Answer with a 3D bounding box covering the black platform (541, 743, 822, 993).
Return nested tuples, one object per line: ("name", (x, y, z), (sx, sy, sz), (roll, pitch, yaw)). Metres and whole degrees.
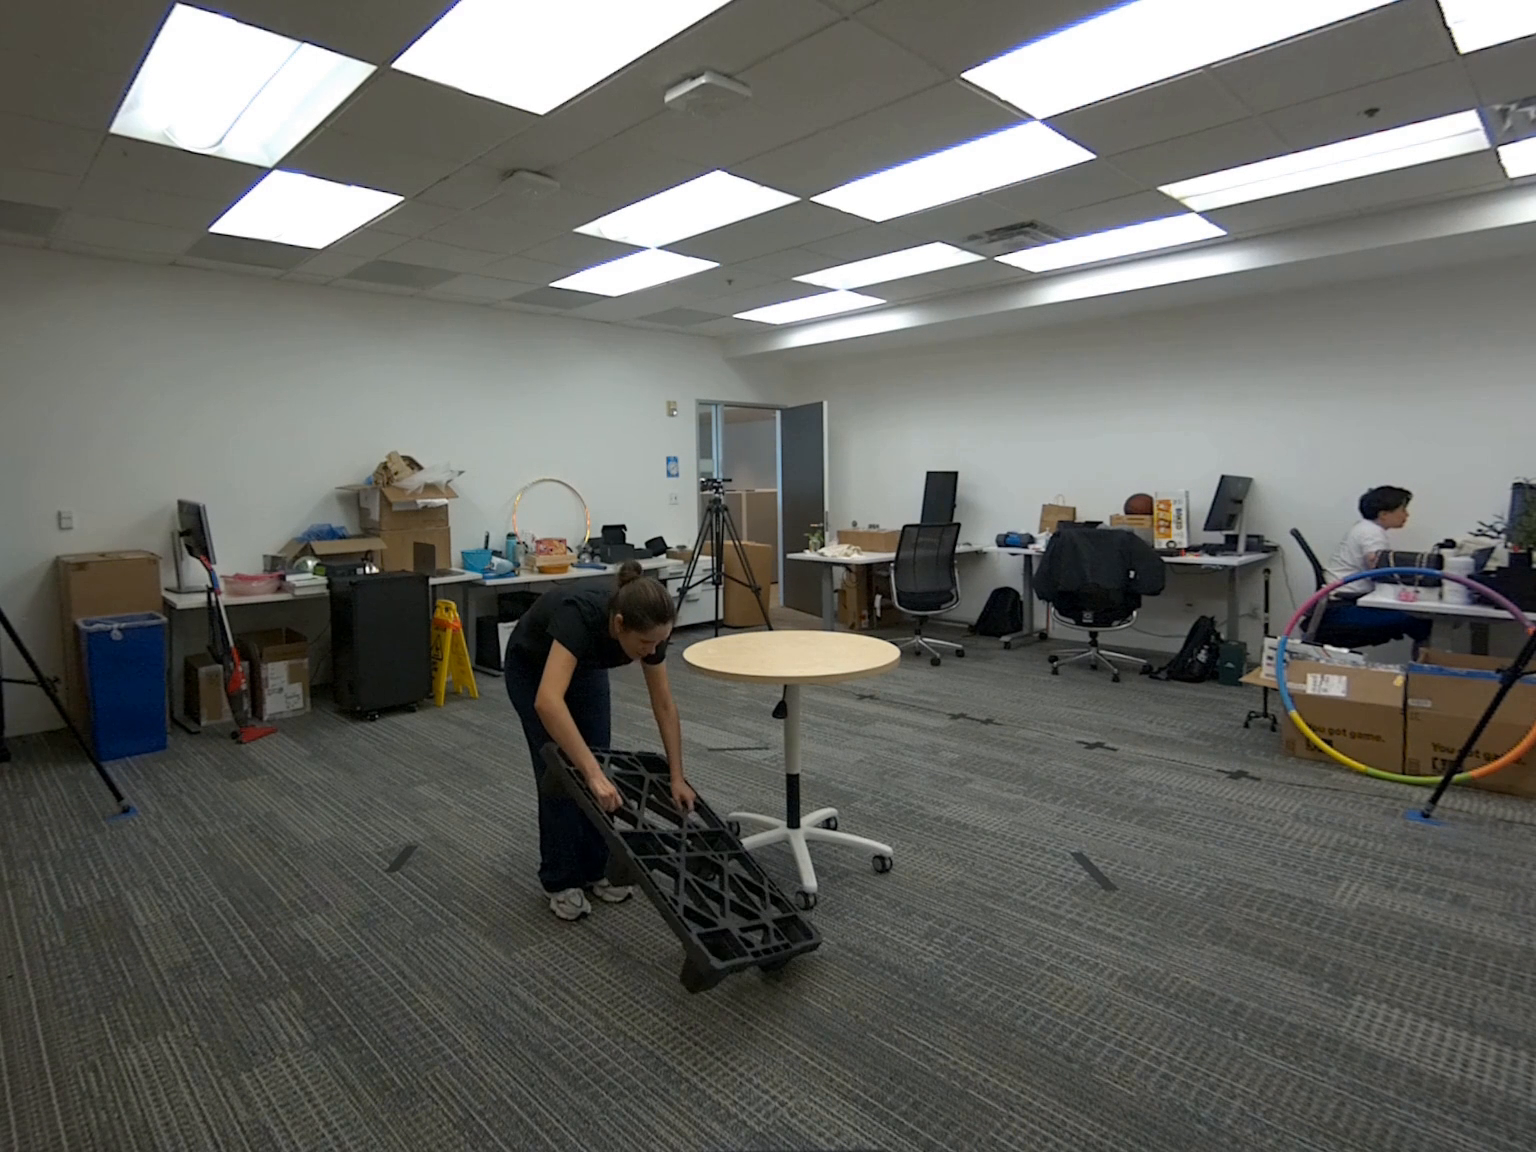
("black platform", (-0.275, 0.812, 2.478), (0.836, 0.143, 0.583), (41, 7, 34))
